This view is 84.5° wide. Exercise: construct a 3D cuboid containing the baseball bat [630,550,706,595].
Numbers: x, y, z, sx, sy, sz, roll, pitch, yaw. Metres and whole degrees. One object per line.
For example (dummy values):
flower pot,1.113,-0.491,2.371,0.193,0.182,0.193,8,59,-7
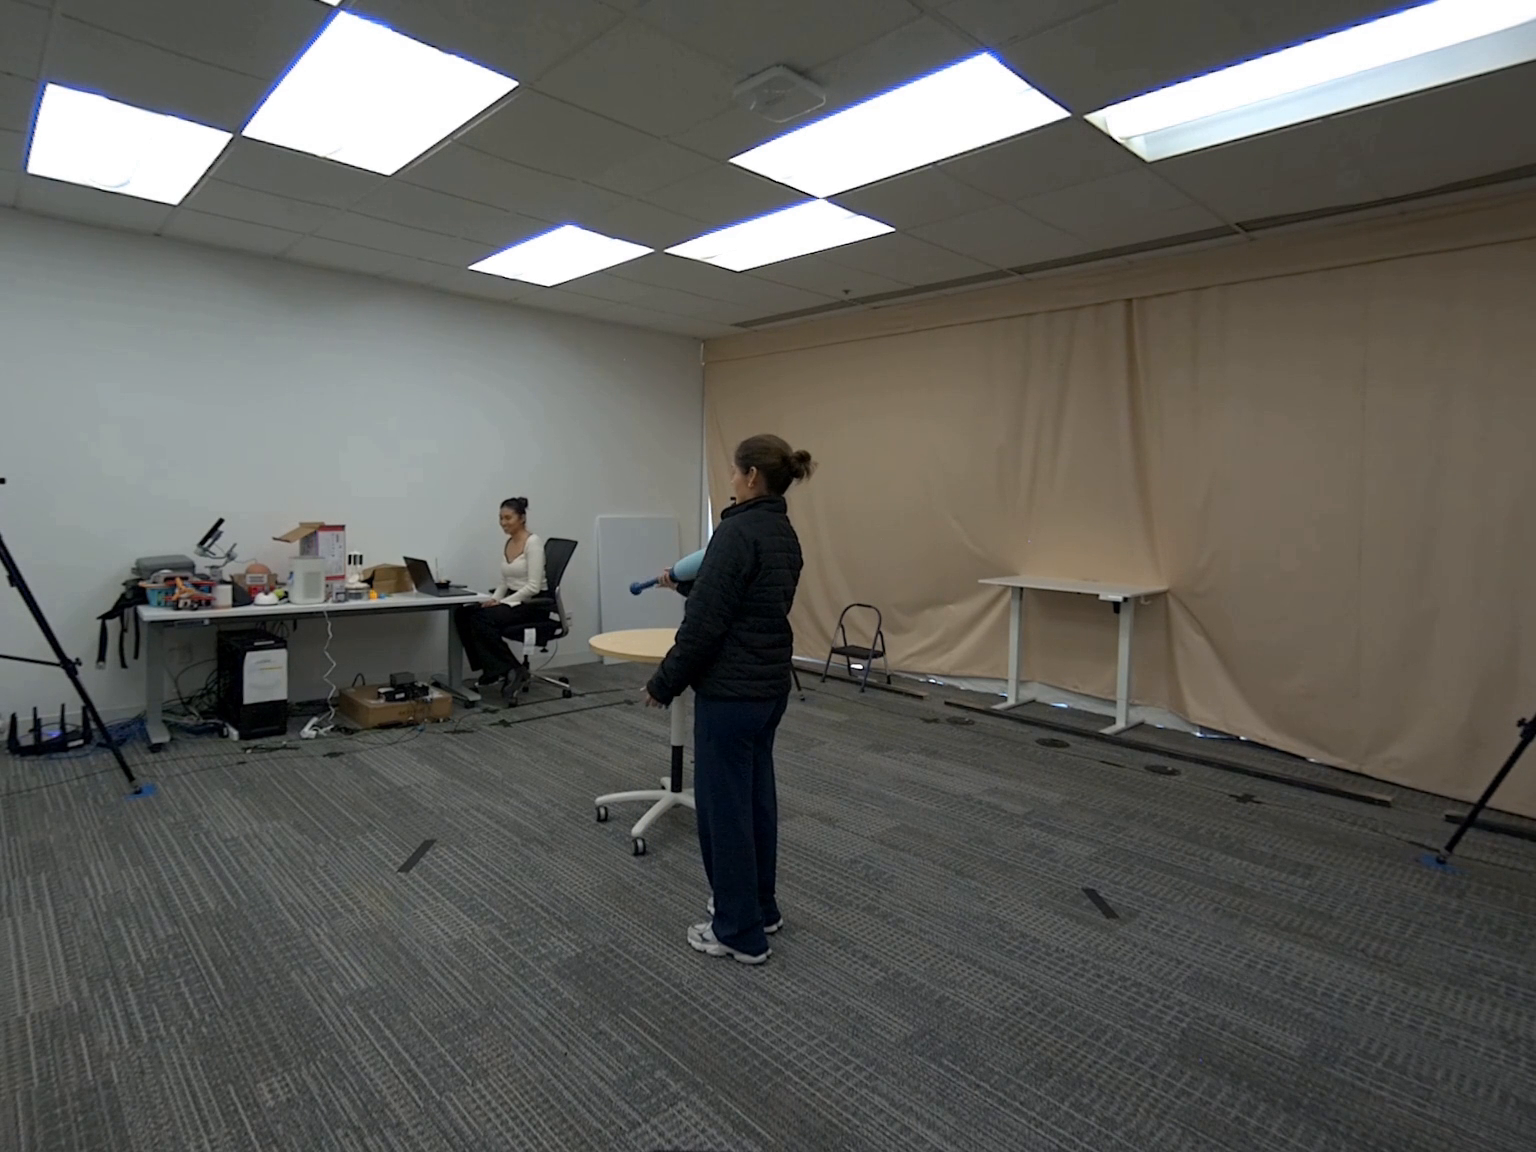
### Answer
baseball bat,-0.327,-0.002,2.983,0.087,0.090,0.551,-3,-12,-45
